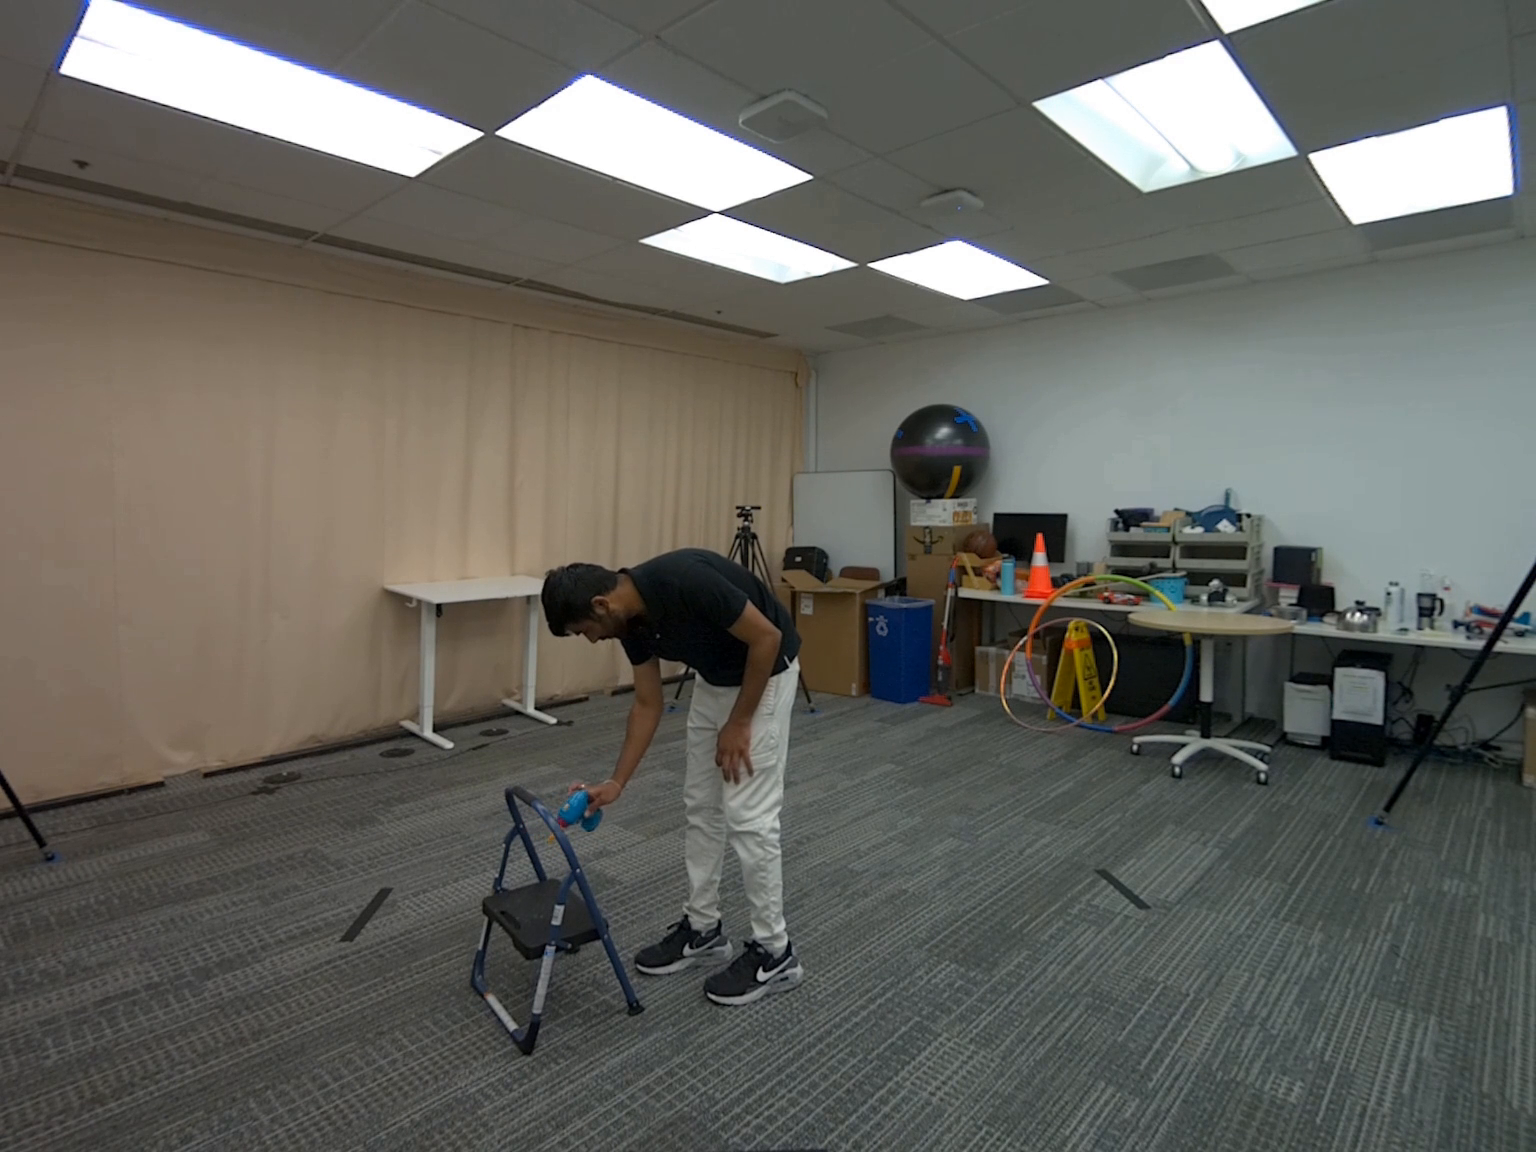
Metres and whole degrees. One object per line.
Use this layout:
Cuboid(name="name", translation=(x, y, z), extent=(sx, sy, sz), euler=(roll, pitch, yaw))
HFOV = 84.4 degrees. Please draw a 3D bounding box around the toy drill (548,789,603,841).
Cuboid(name="toy drill", translation=(-0.554, 0.705, 2.421), extent=(0.063, 0.169, 0.141), euler=(22, -25, 36))
